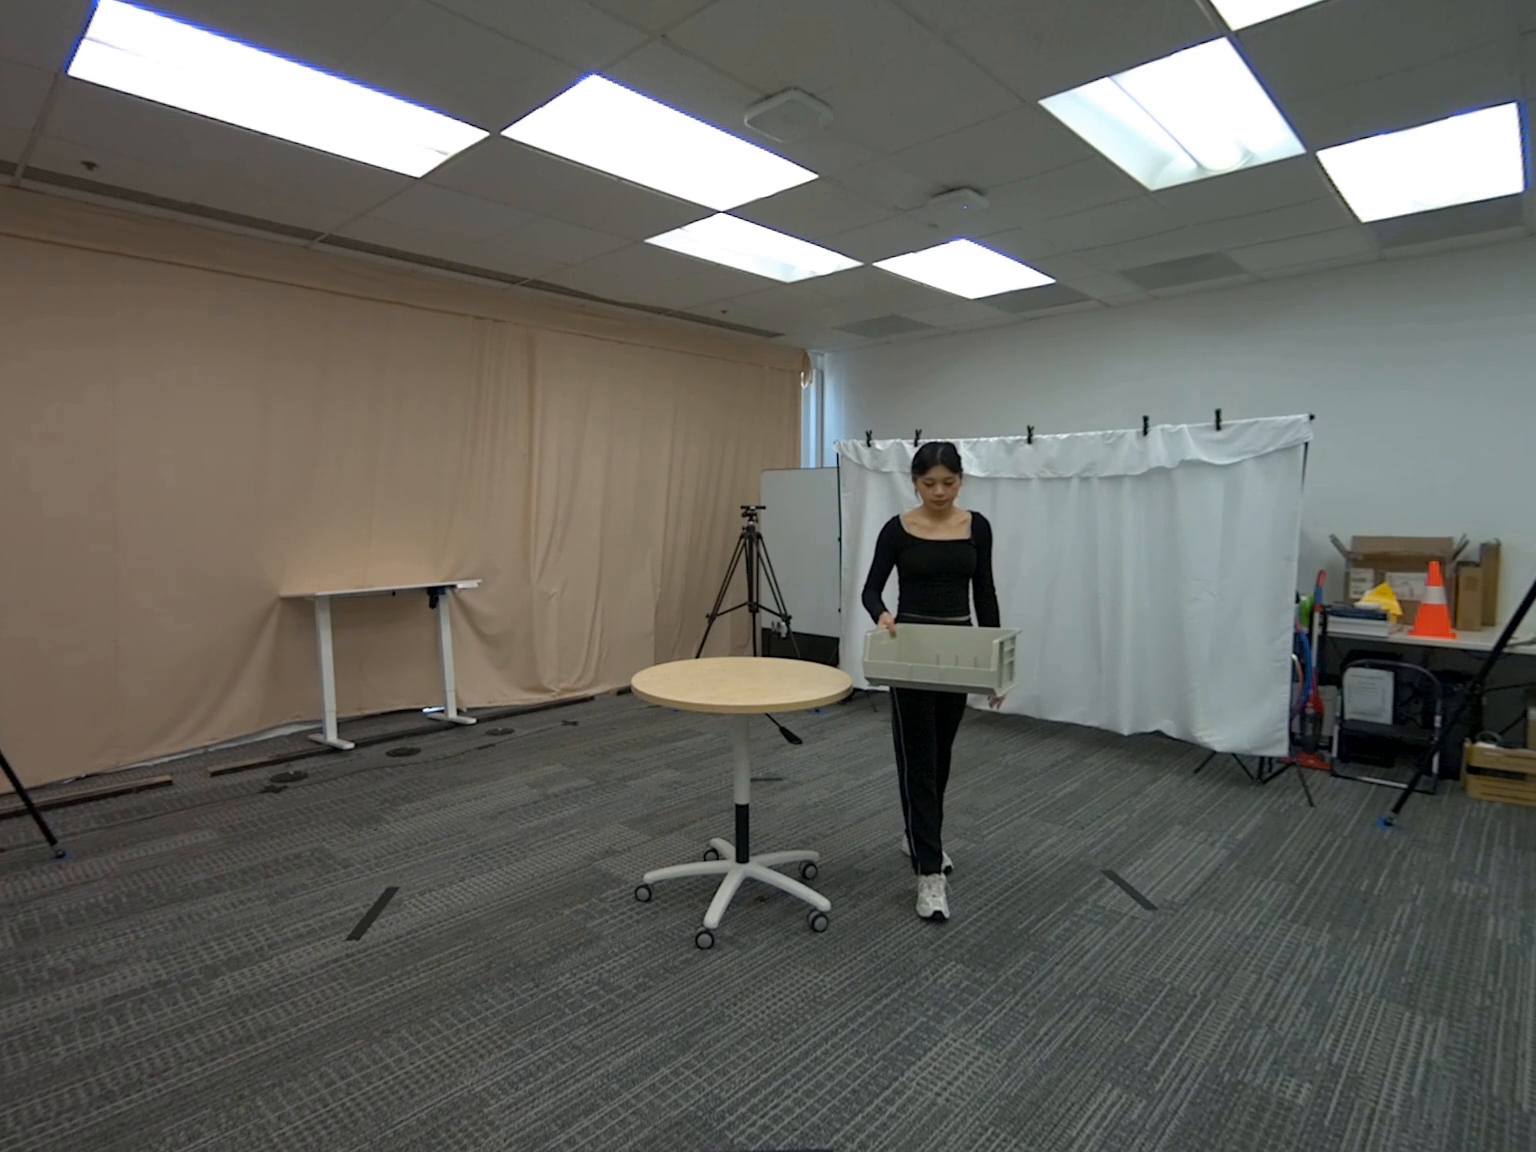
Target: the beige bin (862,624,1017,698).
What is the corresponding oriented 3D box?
[{"bbox_3d":[0.567,0.268,2.724,0.434,0.189,0.367,0,1,28],"label":"beige bin"}]
